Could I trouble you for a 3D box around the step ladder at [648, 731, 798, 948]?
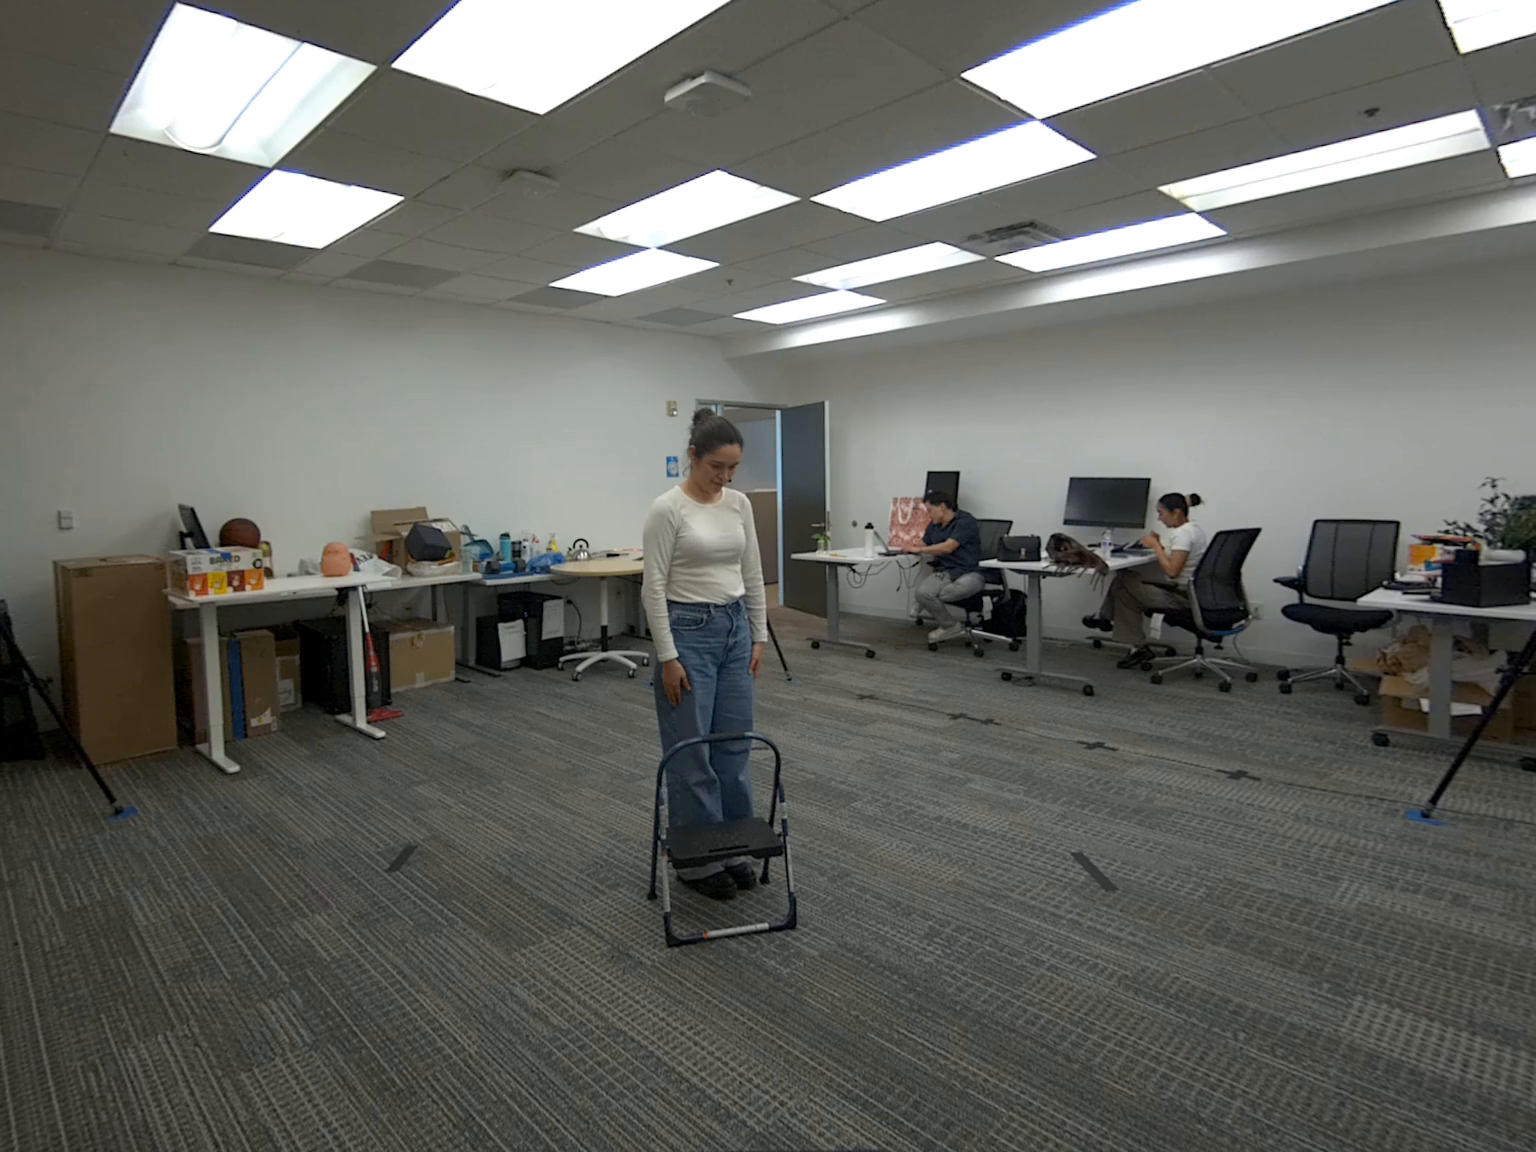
[{"bbox_3d":[-0.159,0.787,2.745,0.425,0.604,0.355,-3,5,-16],"label":"step ladder"}]
